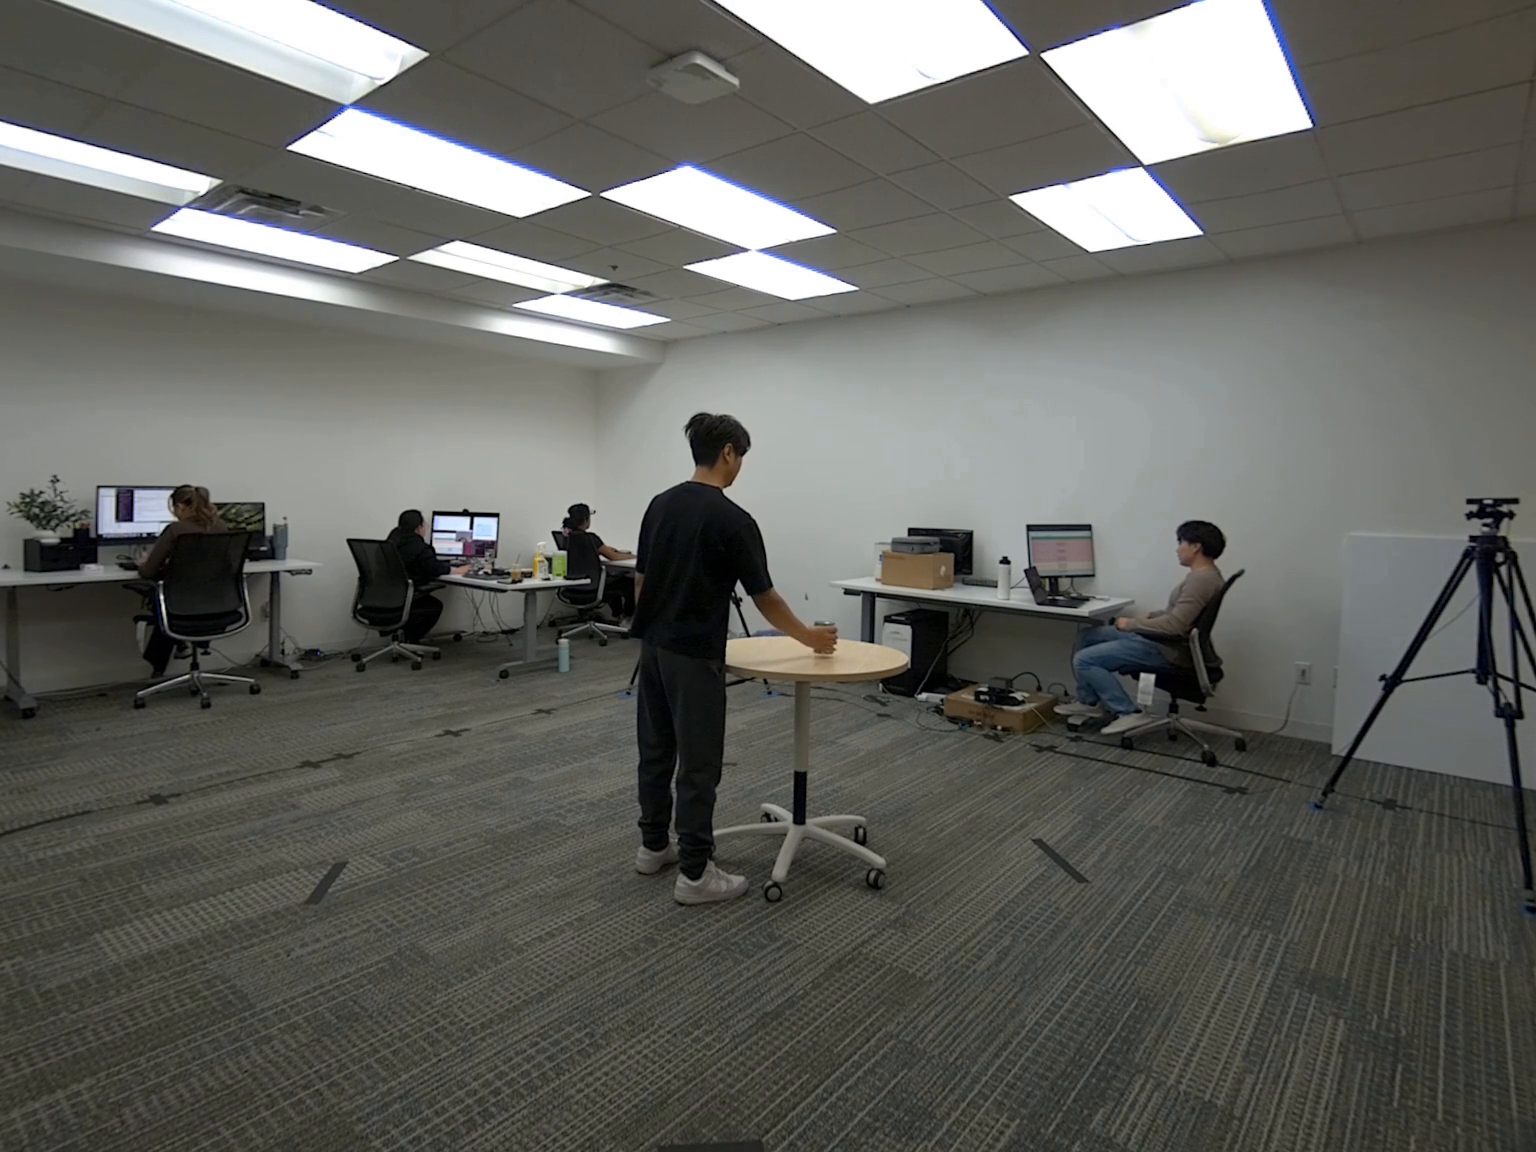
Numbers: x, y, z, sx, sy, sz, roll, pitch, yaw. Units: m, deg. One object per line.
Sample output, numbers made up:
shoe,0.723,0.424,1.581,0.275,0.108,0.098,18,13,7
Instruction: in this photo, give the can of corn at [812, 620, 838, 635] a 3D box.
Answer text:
can of corn,0.198,0.219,3.090,0.074,0.111,0.074,0,4,-2
